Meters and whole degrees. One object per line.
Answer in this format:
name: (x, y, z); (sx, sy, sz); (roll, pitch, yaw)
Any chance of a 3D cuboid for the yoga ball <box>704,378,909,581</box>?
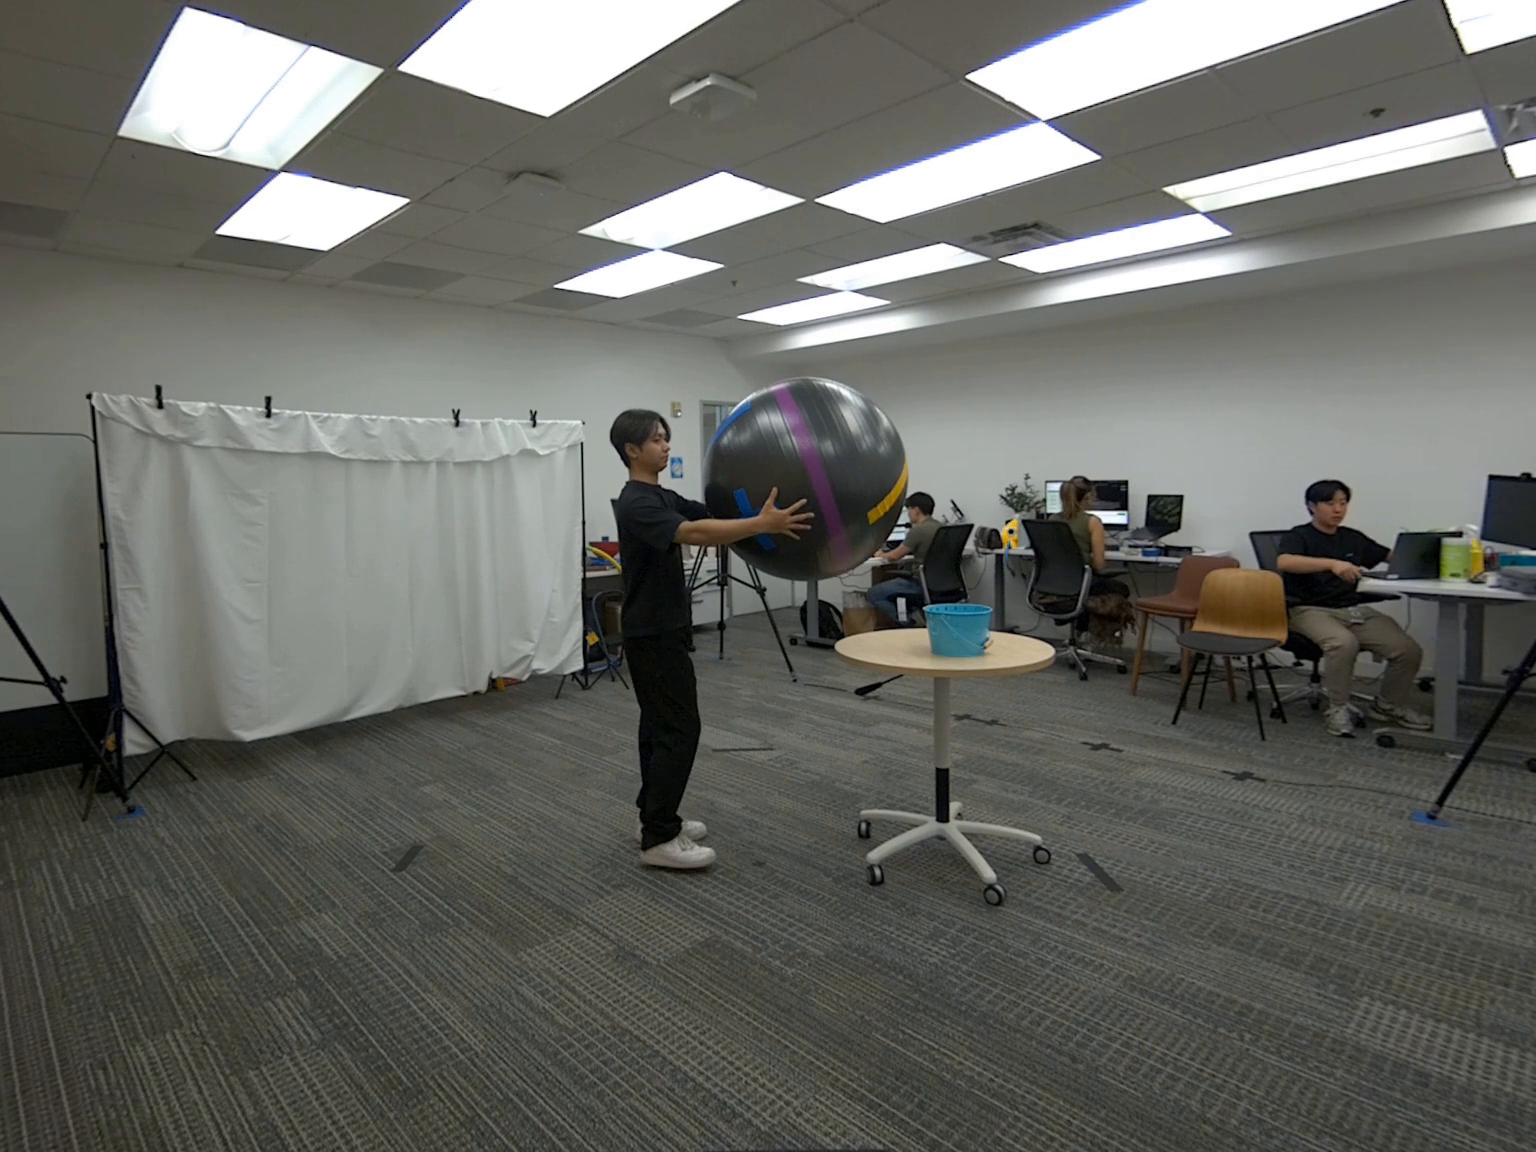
yoga ball: (0.147, -0.358, 3.208); (0.757, 0.755, 0.762); (-1, 5, -2)
